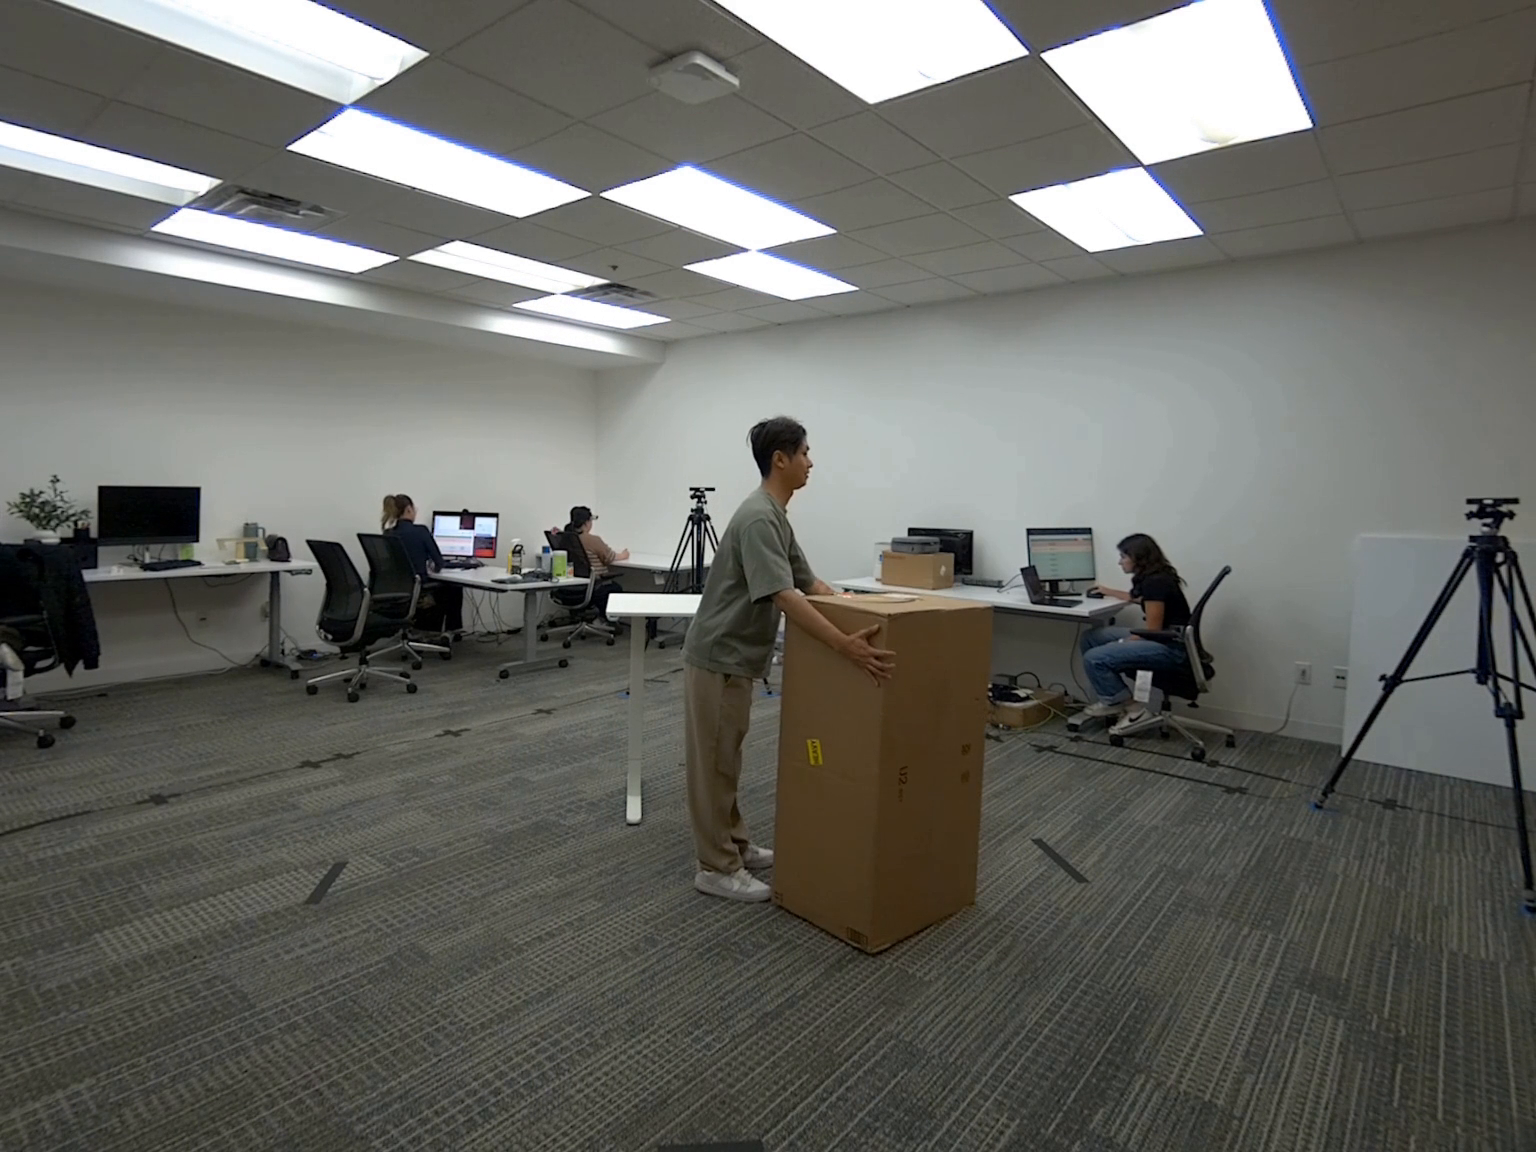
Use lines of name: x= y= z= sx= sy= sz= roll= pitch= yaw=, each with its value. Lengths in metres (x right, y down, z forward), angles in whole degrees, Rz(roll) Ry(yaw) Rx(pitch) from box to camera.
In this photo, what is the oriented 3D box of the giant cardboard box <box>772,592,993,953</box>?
giant cardboard box: x=0.380 y=0.591 z=2.853 sx=0.559 sy=1.023 sz=0.441 roll=0 pitch=4 yaw=-43
